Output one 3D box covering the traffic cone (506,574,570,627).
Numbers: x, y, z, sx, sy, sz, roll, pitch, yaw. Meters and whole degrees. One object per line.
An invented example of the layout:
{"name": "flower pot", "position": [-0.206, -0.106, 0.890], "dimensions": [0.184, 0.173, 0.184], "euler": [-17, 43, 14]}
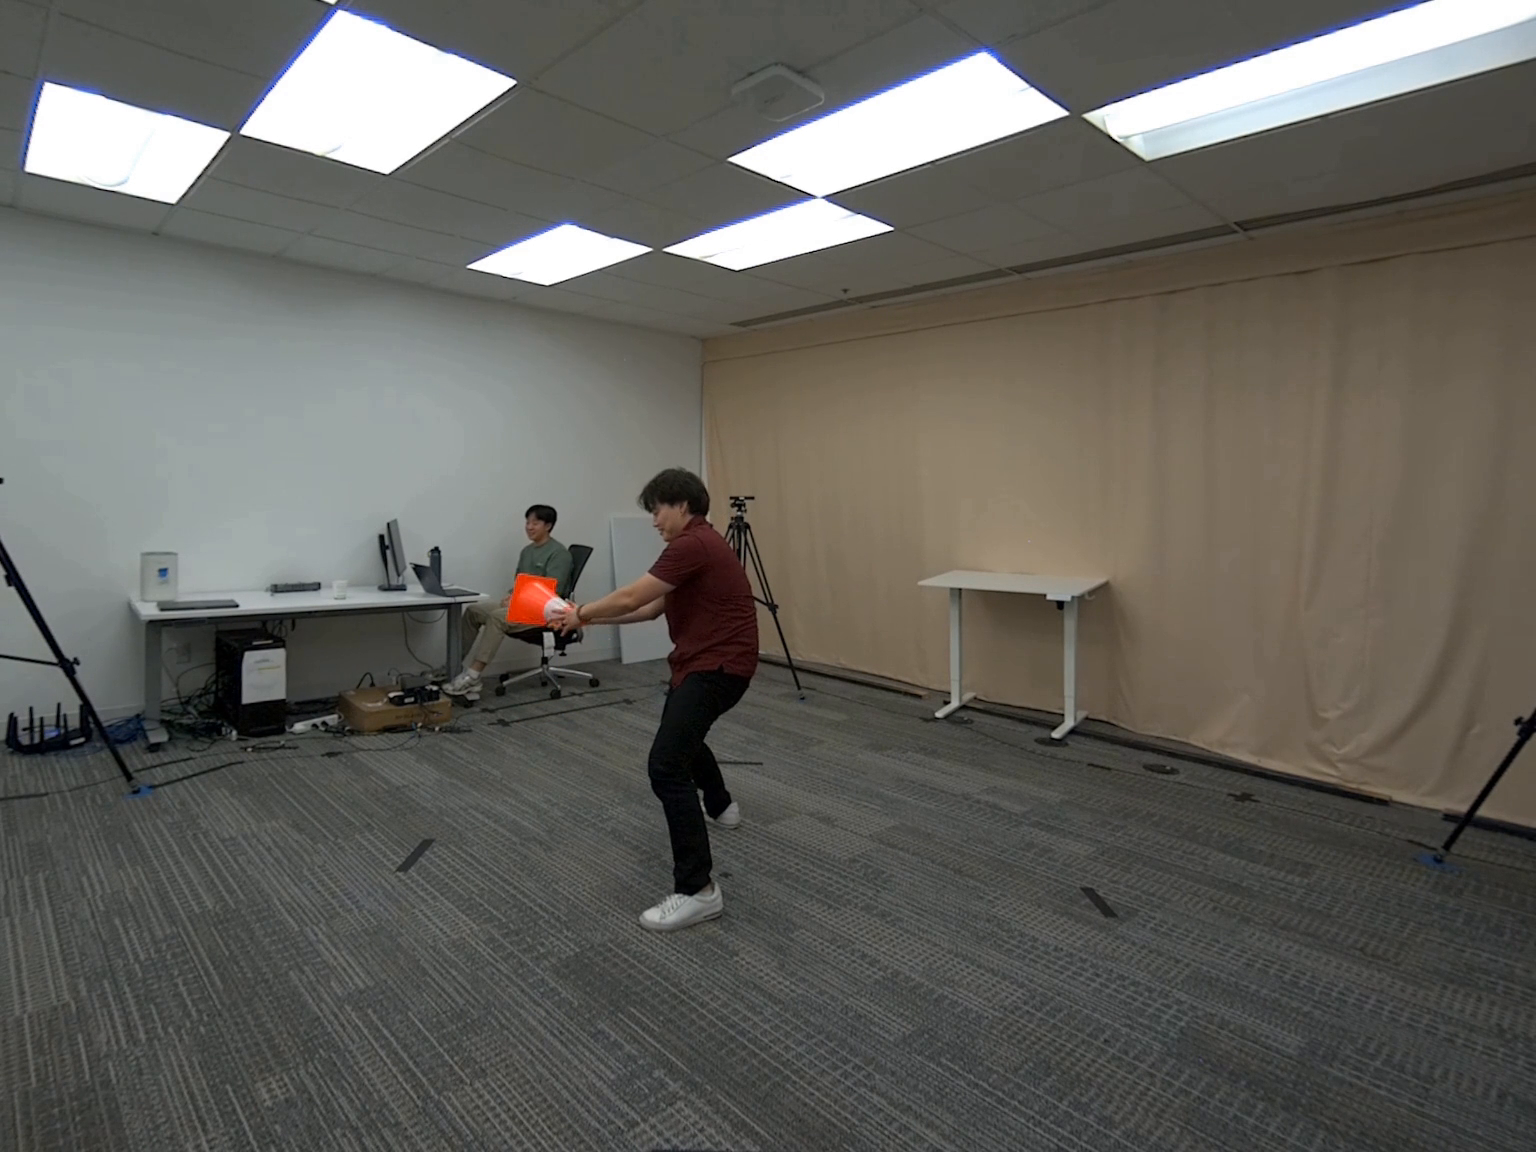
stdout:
{"name": "traffic cone", "position": [-0.829, 0.141, 3.318], "dimensions": [0.395, 0.205, 0.198], "euler": [15, 3, 41]}
